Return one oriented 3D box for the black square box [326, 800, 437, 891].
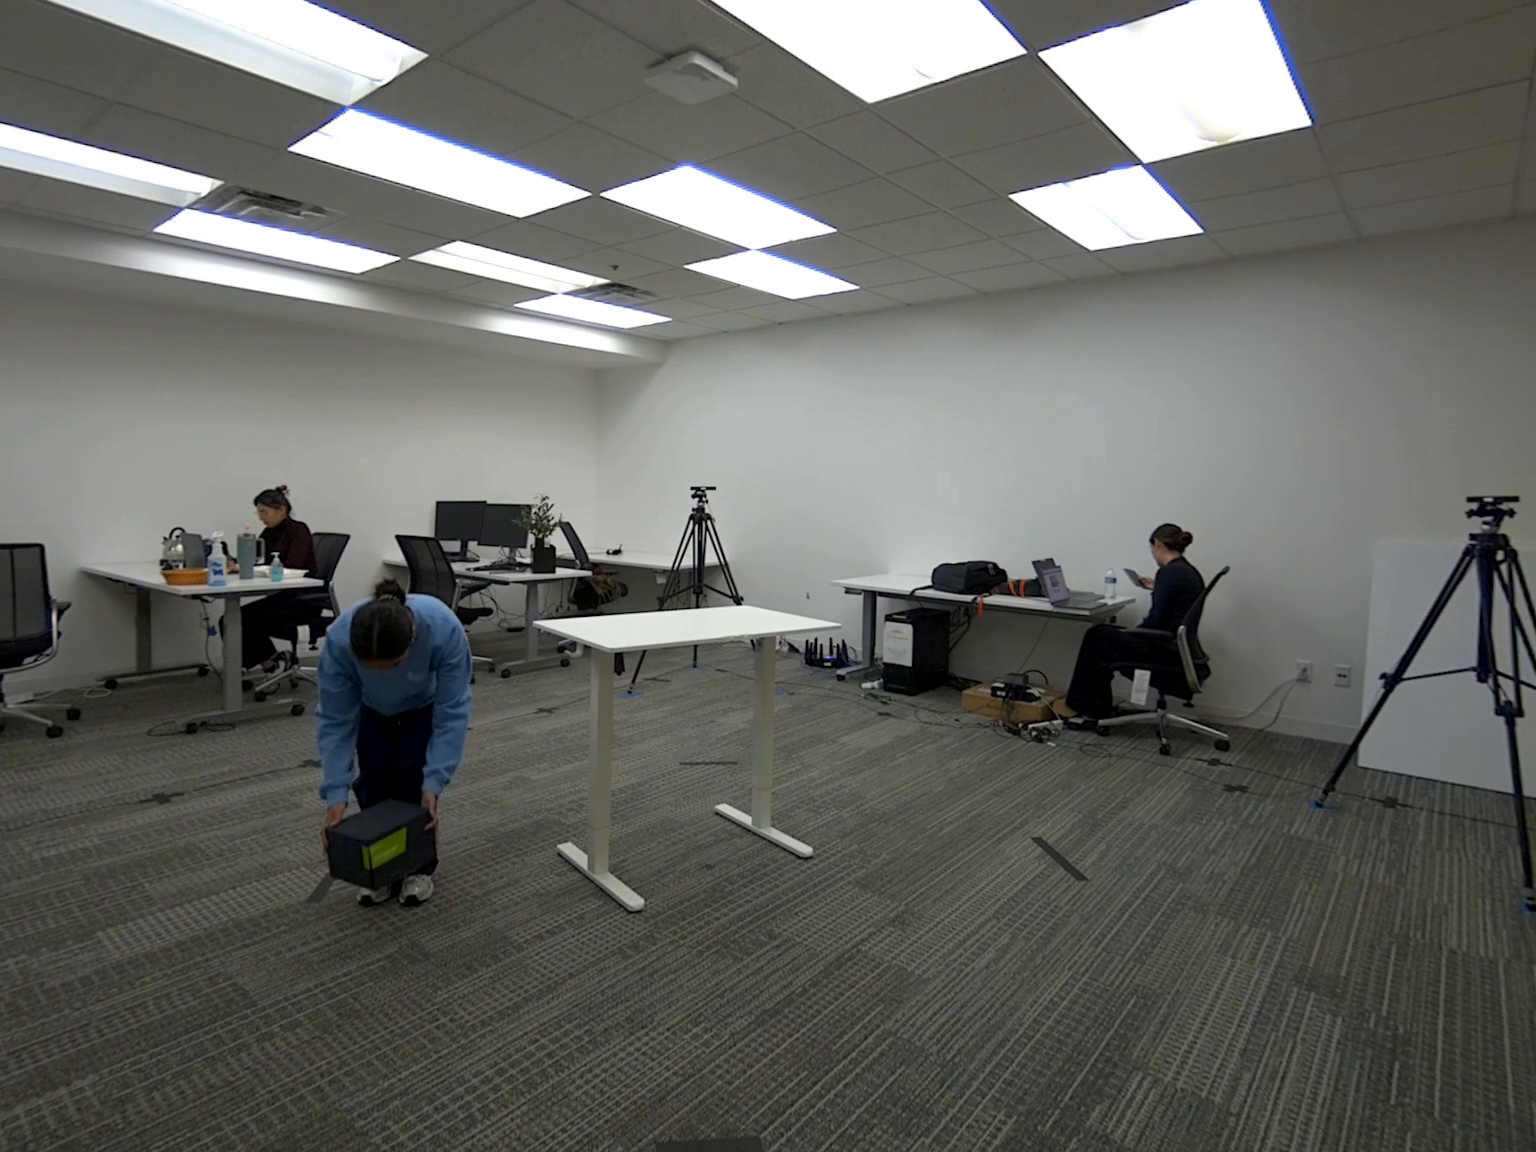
[{"bbox_3d":[-1.175,0.788,2.557,0.223,0.155,0.223,1,9,31],"label":"black square box"}]
